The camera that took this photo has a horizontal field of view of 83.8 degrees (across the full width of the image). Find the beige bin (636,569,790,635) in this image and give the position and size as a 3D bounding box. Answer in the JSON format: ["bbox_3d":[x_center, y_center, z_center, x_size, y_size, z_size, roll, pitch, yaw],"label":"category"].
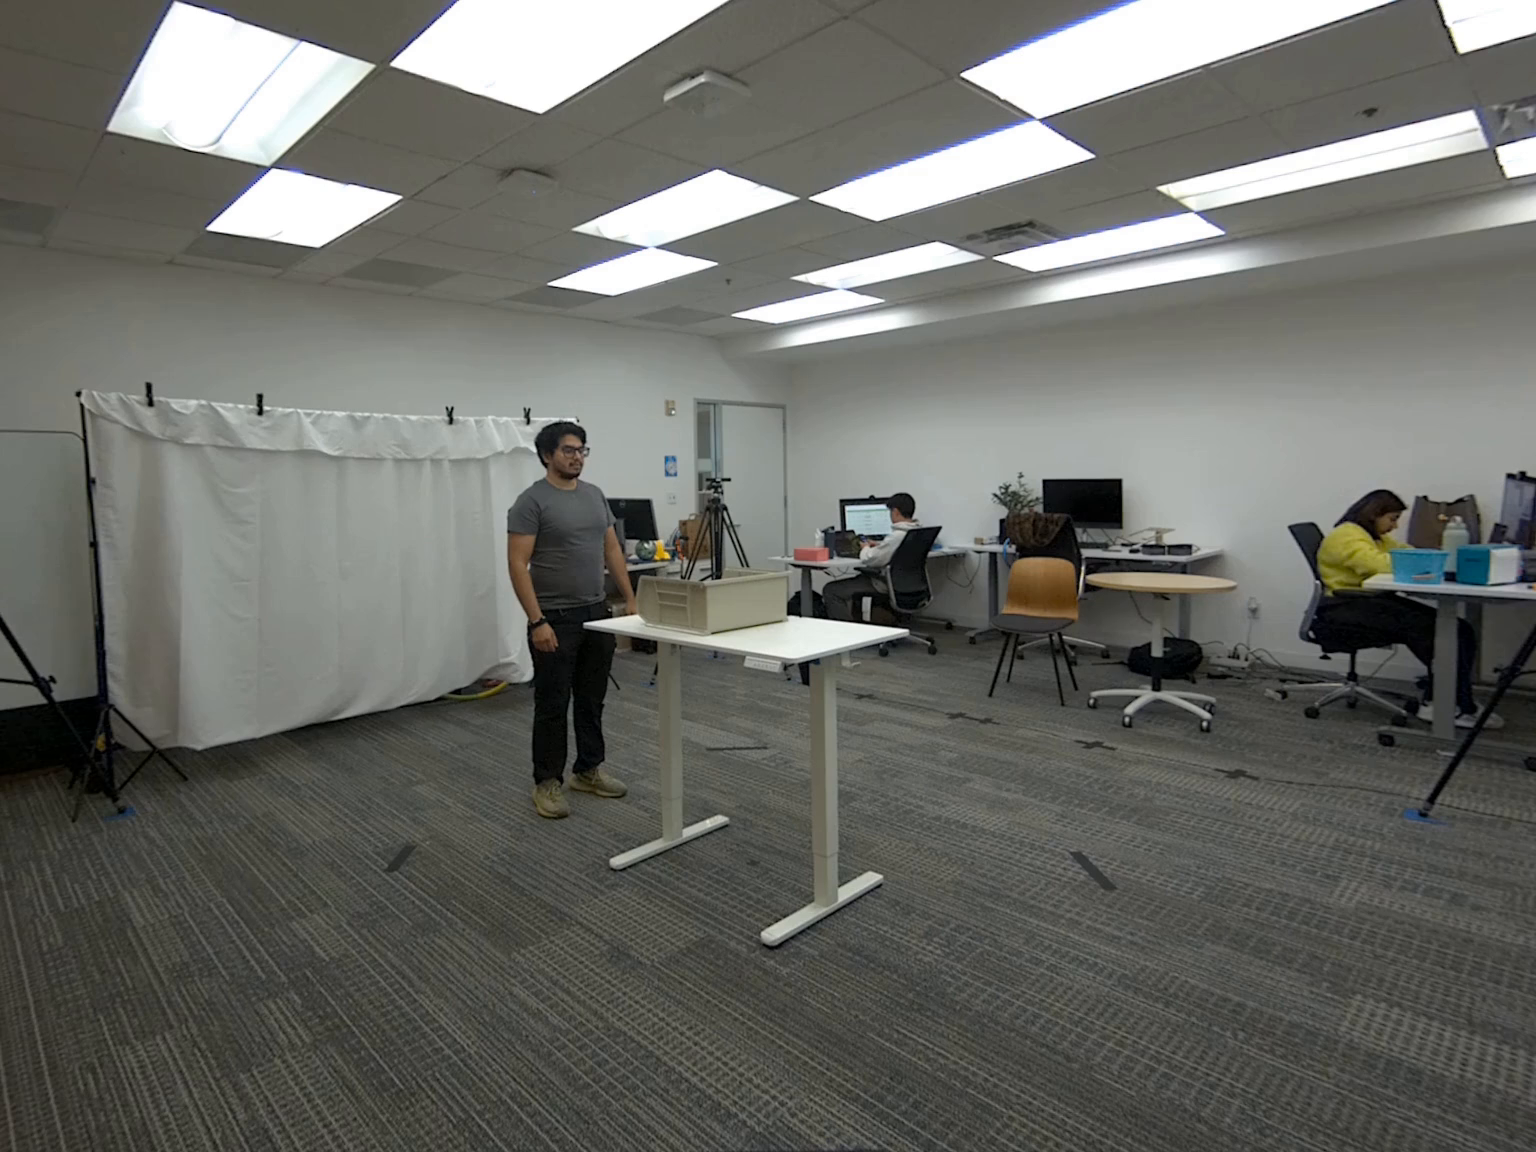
[{"bbox_3d":[-0.194,0.082,3.046,0.411,0.188,0.389,-5,8,-44],"label":"beige bin"}]
